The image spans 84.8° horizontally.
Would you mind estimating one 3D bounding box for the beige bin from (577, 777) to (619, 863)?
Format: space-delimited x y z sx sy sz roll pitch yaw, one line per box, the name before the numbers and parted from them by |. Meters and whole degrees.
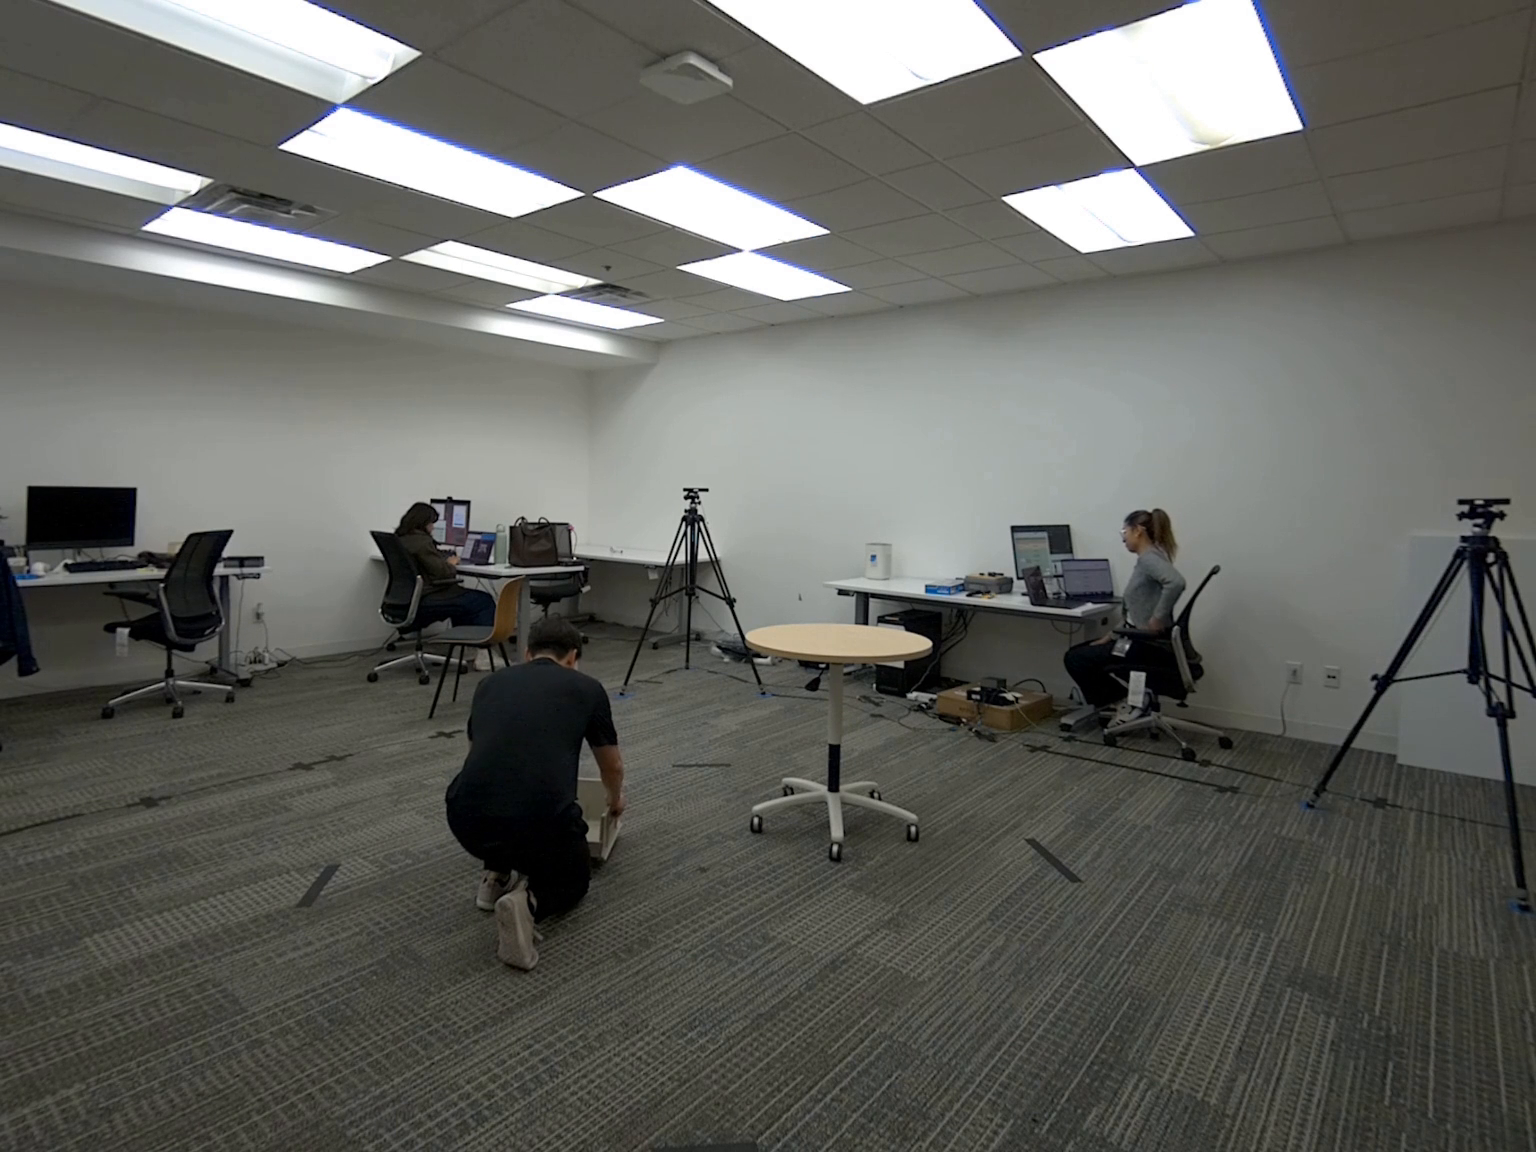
beige bin | -0.798 0.918 3.231 0.424 0.188 0.377 1 5 3
